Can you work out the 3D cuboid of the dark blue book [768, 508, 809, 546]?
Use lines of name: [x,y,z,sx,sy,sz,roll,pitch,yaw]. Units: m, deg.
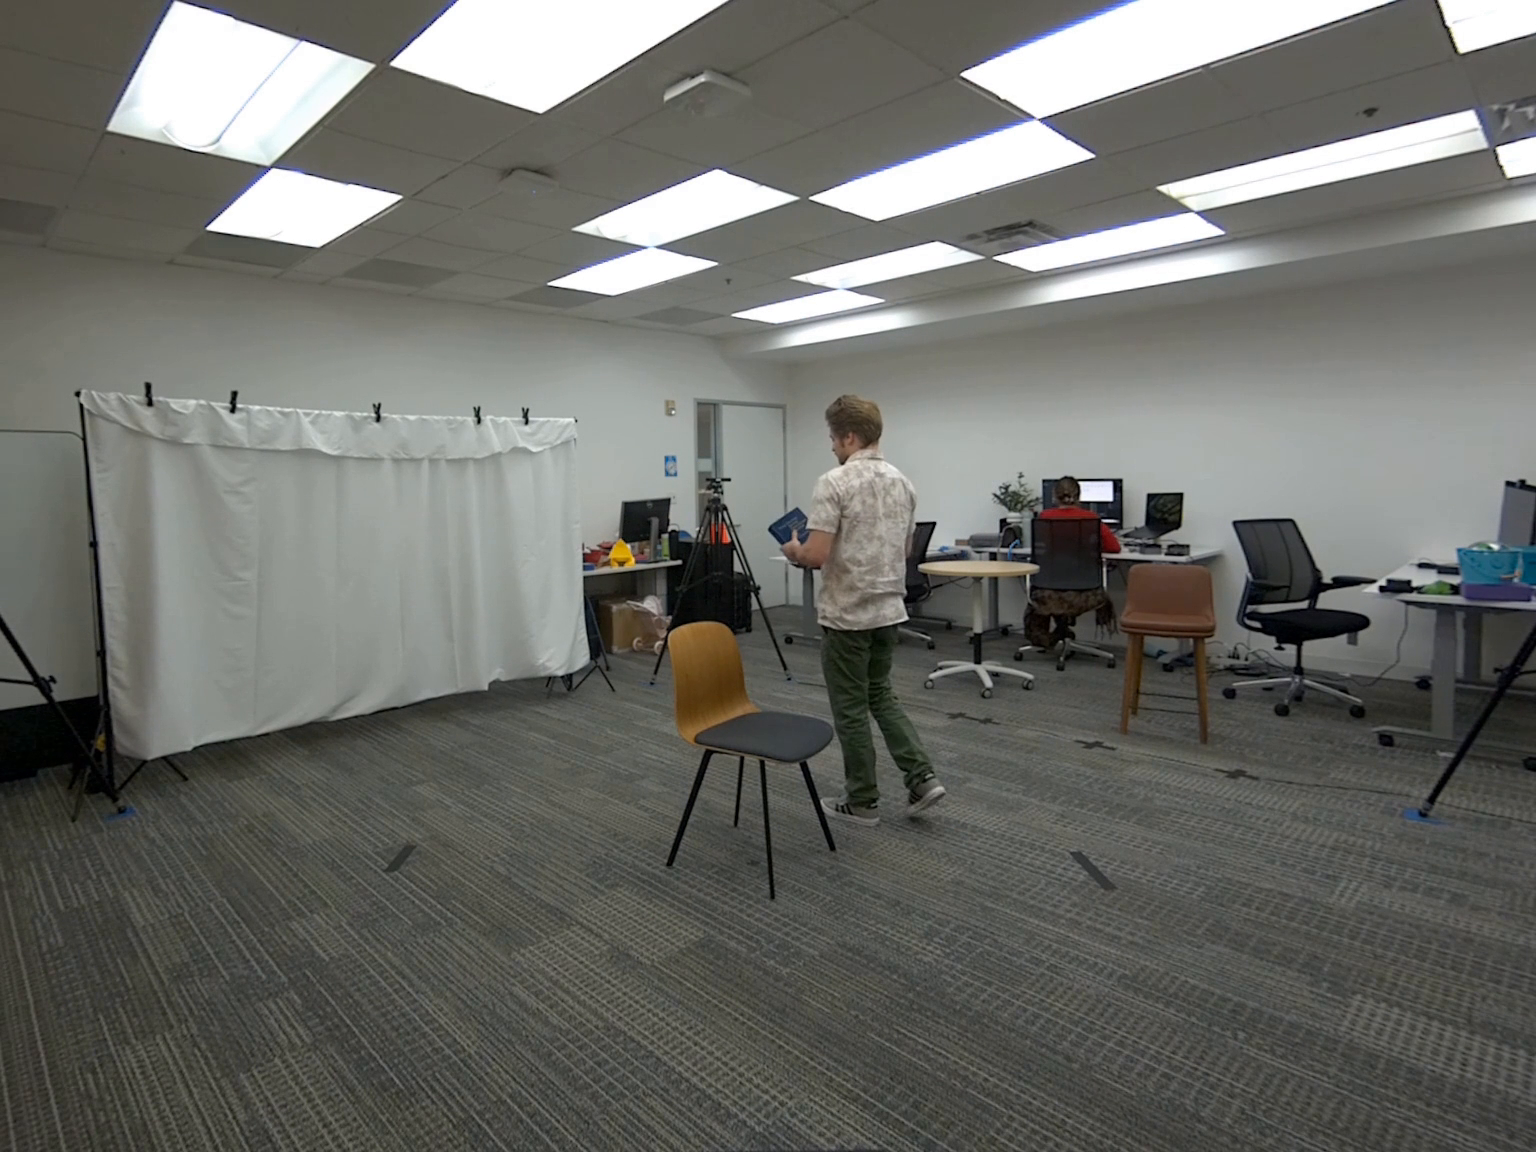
dark blue book: [0.154,-0.161,3.635,0.162,0.251,0.044,-35,-19,-23]
